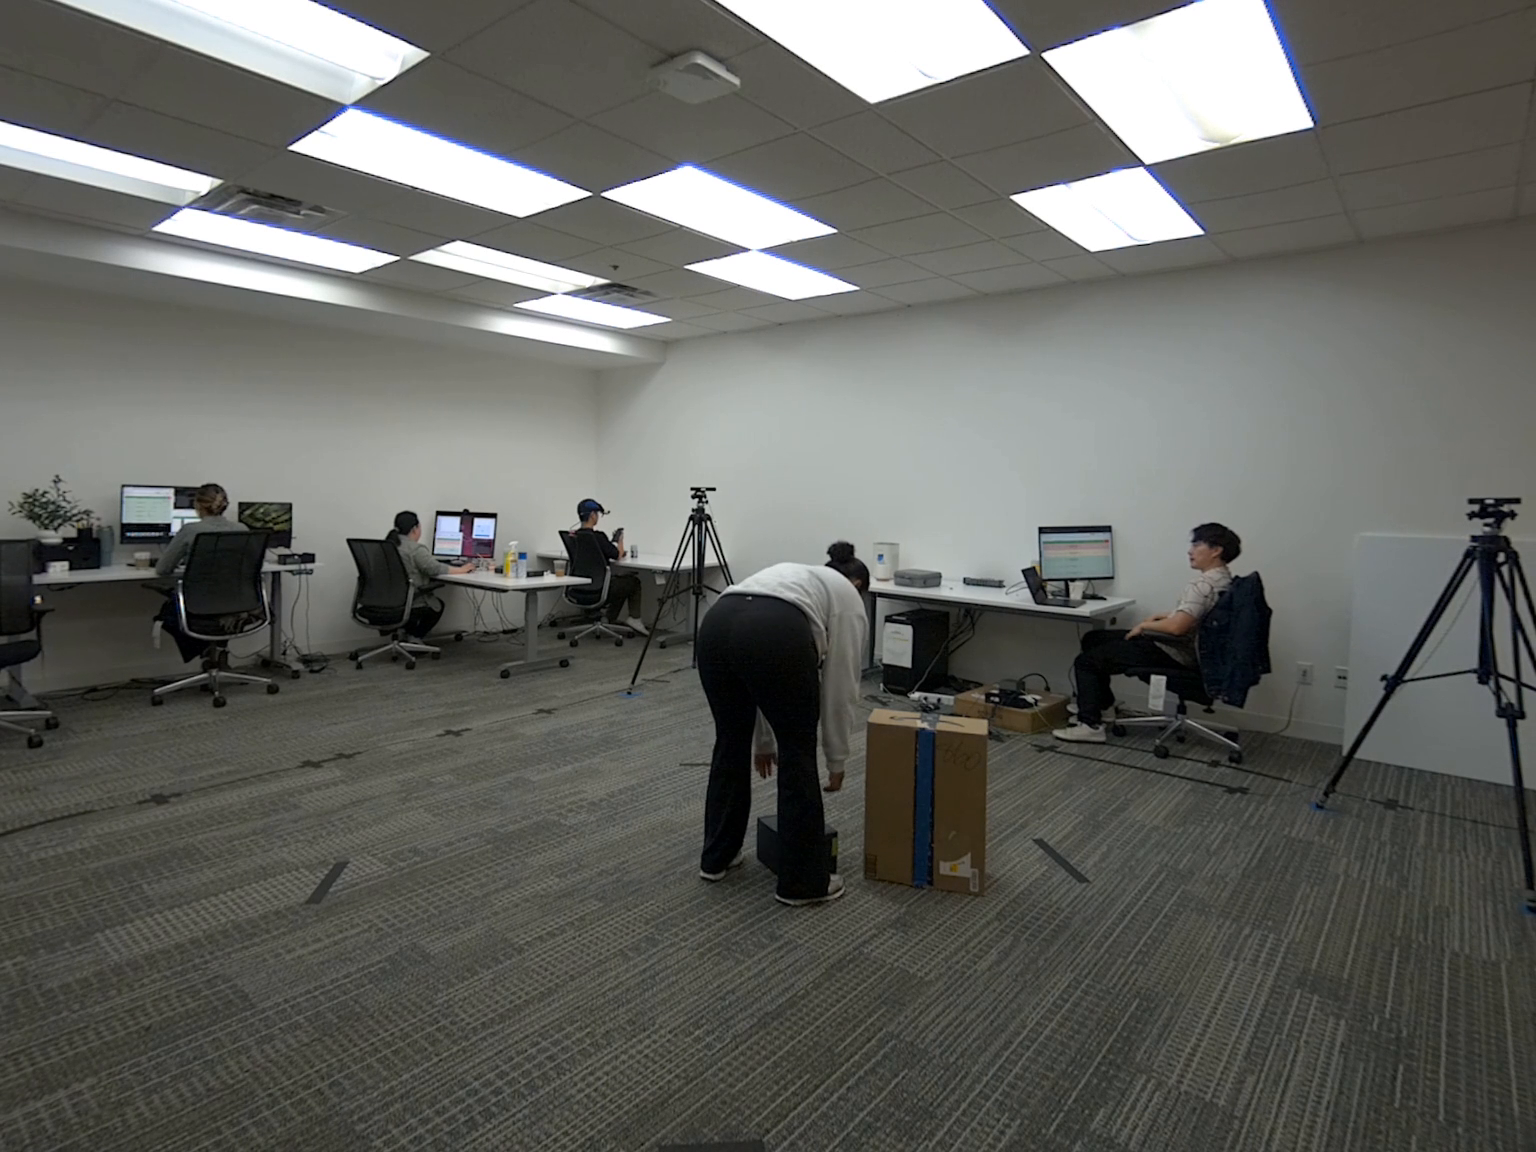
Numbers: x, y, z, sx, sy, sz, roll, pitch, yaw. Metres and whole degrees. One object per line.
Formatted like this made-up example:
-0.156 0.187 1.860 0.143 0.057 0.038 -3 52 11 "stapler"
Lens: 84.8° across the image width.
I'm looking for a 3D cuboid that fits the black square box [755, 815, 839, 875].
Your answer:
0.086 0.984 3.144 0.211 0.155 0.235 -1 6 -30 "black square box"
